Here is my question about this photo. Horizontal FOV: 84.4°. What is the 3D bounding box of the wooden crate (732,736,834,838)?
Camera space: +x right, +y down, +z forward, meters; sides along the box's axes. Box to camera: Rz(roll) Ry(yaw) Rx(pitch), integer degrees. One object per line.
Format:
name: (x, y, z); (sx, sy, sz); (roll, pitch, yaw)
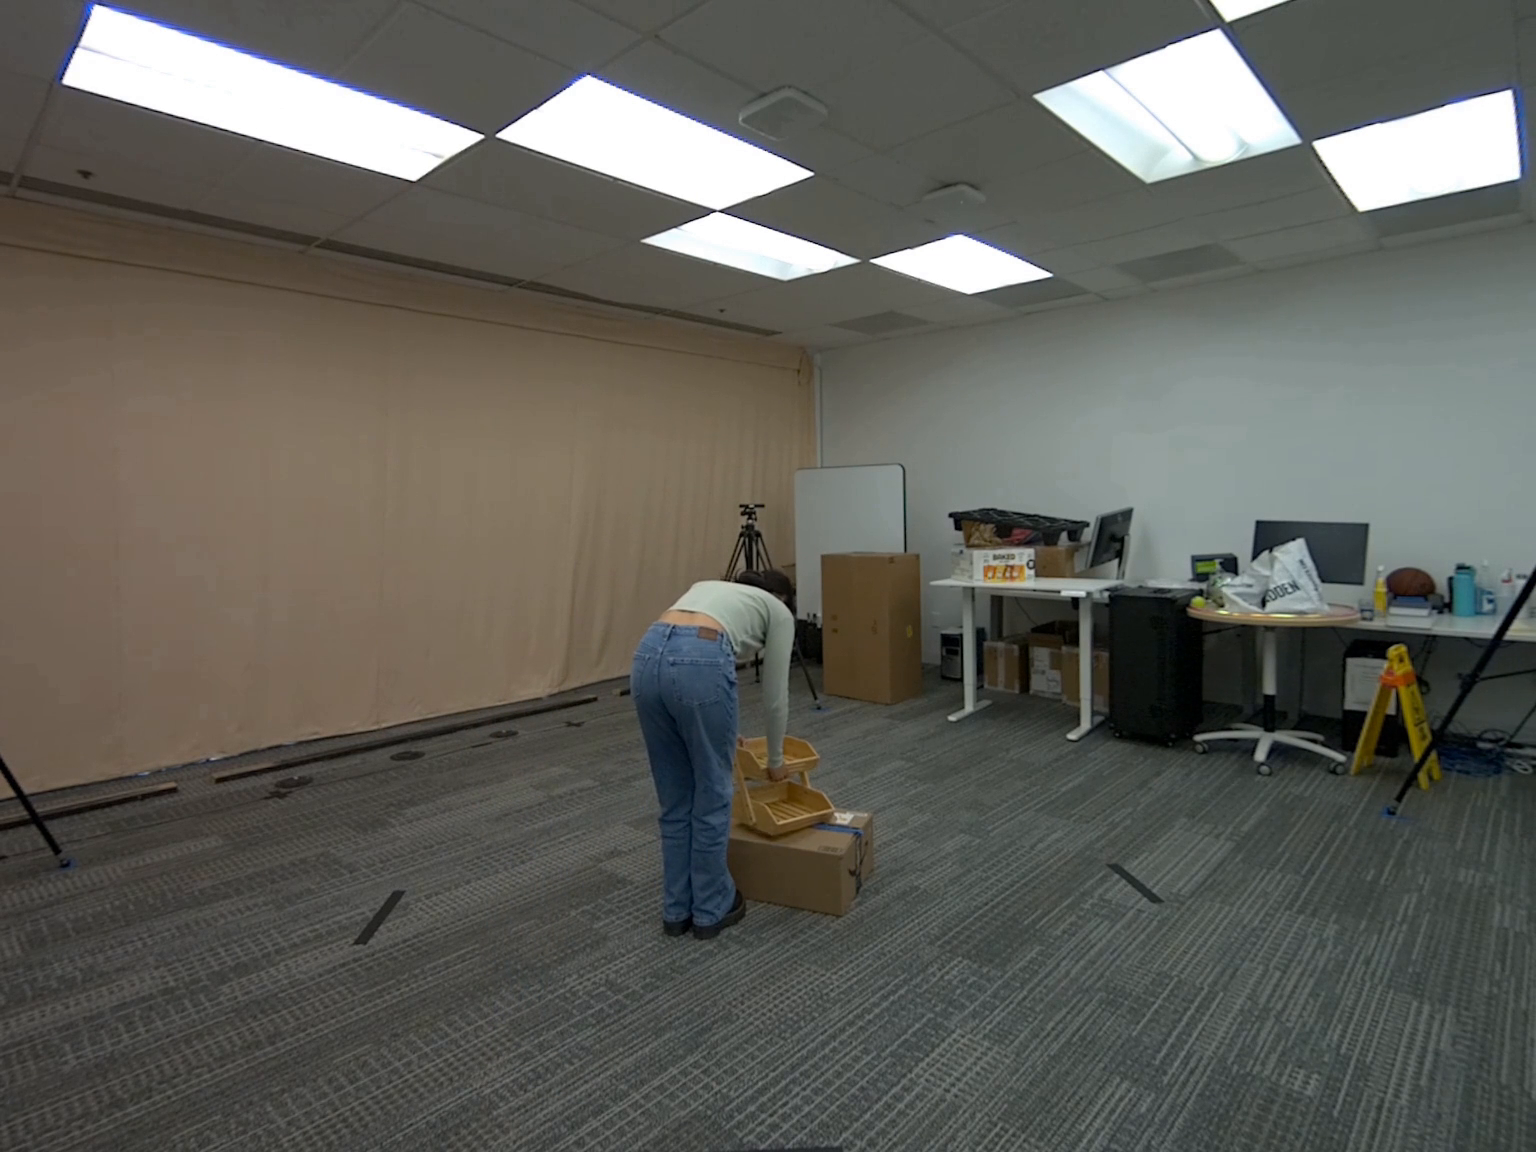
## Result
wooden crate: (0.046, 0.753, 3.107); (0.314, 0.273, 0.312); (1, 3, -42)
